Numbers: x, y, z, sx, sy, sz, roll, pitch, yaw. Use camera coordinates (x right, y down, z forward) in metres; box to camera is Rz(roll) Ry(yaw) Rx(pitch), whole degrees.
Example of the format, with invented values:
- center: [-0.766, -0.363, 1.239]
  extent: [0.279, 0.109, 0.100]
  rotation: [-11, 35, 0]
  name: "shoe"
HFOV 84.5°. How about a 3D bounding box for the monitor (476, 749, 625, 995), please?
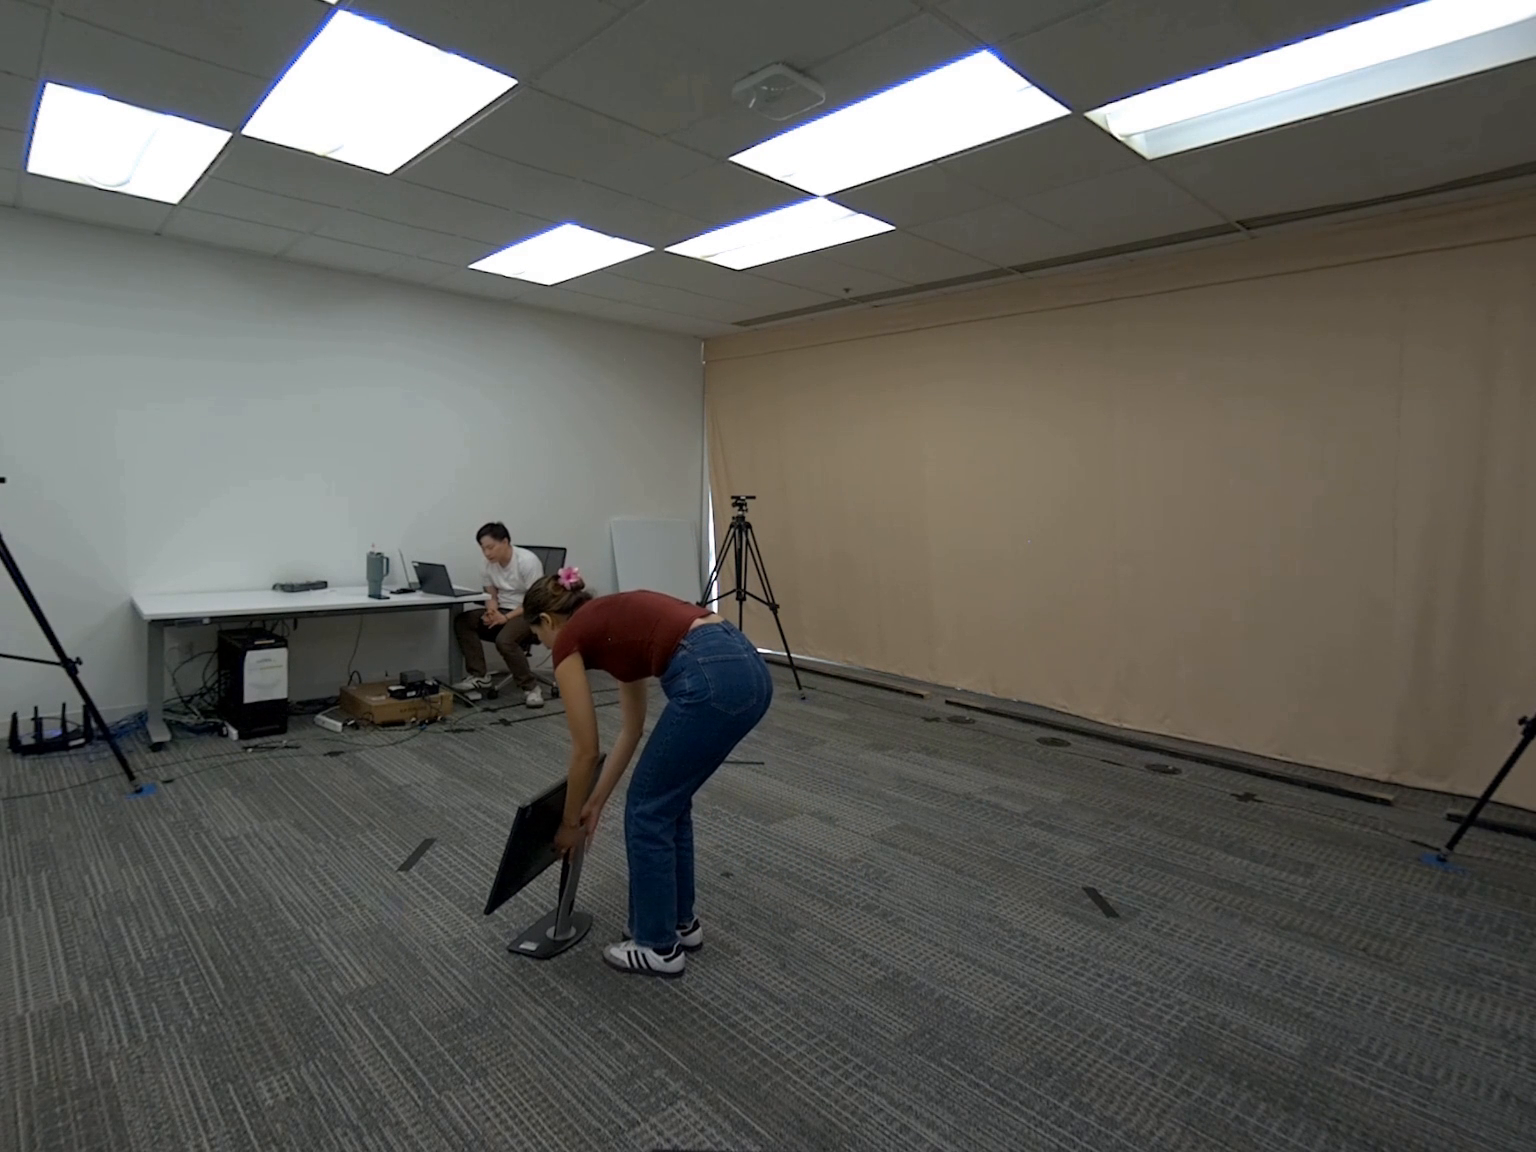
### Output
- center: [-0.661, 0.880, 2.639]
  extent: [0.189, 0.521, 0.533]
  rotation: [5, 5, 15]
  name: "monitor"
